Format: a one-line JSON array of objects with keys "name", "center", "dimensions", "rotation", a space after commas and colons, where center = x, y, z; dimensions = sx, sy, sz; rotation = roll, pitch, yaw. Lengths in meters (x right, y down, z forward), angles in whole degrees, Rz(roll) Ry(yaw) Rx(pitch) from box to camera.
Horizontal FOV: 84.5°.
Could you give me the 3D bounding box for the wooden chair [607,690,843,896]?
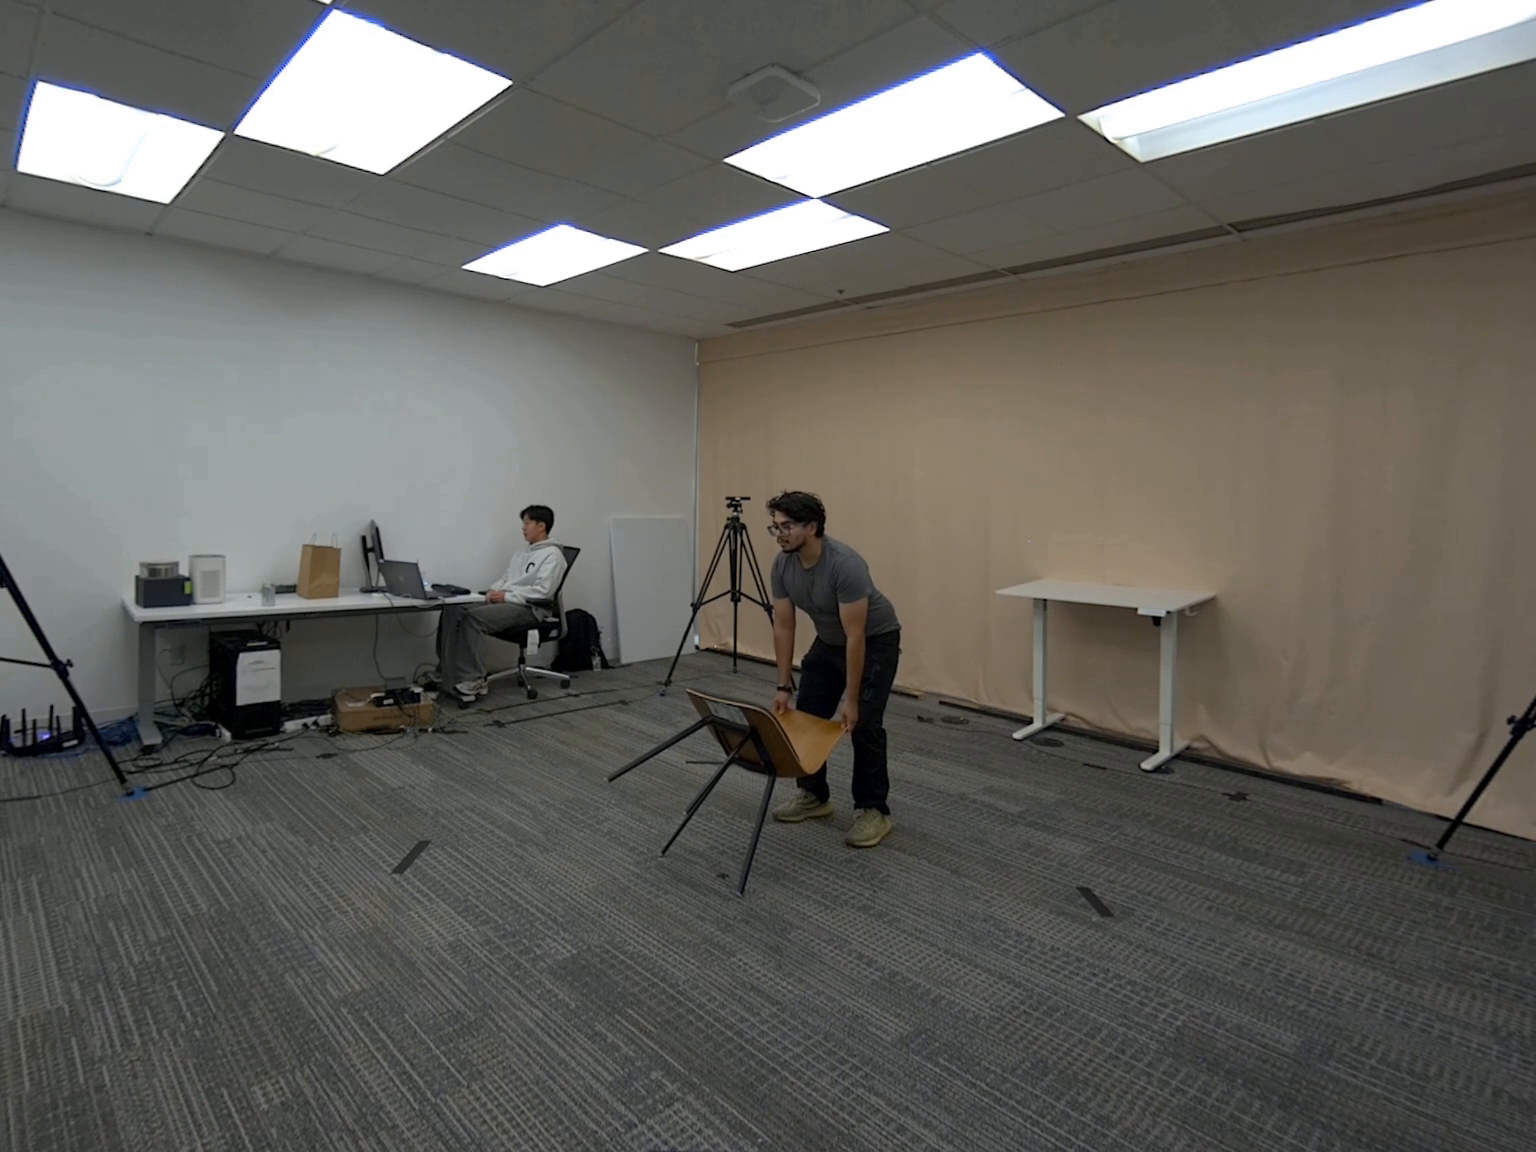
[{"name": "wooden chair", "center": [-0.112, 0.652, 3.218], "dimensions": [0.490, 0.511, 0.875], "rotation": [4, 38, 44]}]
